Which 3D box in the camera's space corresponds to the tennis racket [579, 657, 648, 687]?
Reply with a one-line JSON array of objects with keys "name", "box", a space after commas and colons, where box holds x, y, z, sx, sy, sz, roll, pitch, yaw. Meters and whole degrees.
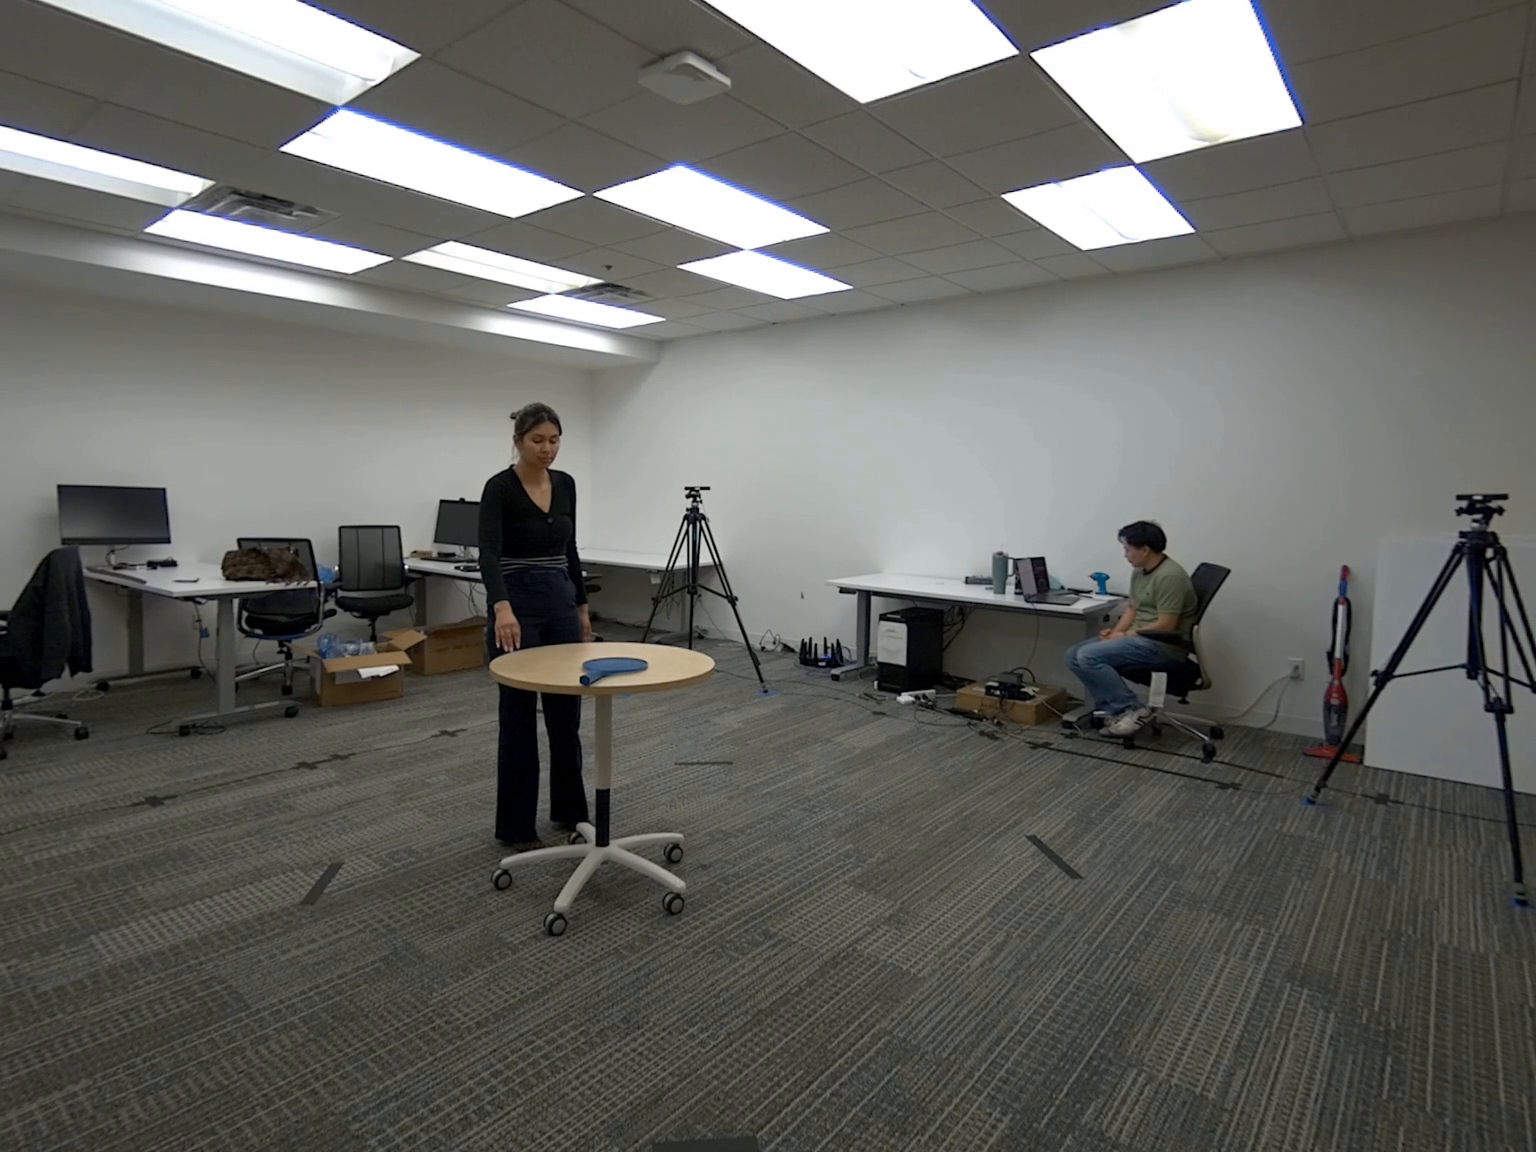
[{"name": "tennis racket", "box": [-0.528, 0.300, 2.753, 0.216, 0.032, 0.429, 1, 4, 9]}]
